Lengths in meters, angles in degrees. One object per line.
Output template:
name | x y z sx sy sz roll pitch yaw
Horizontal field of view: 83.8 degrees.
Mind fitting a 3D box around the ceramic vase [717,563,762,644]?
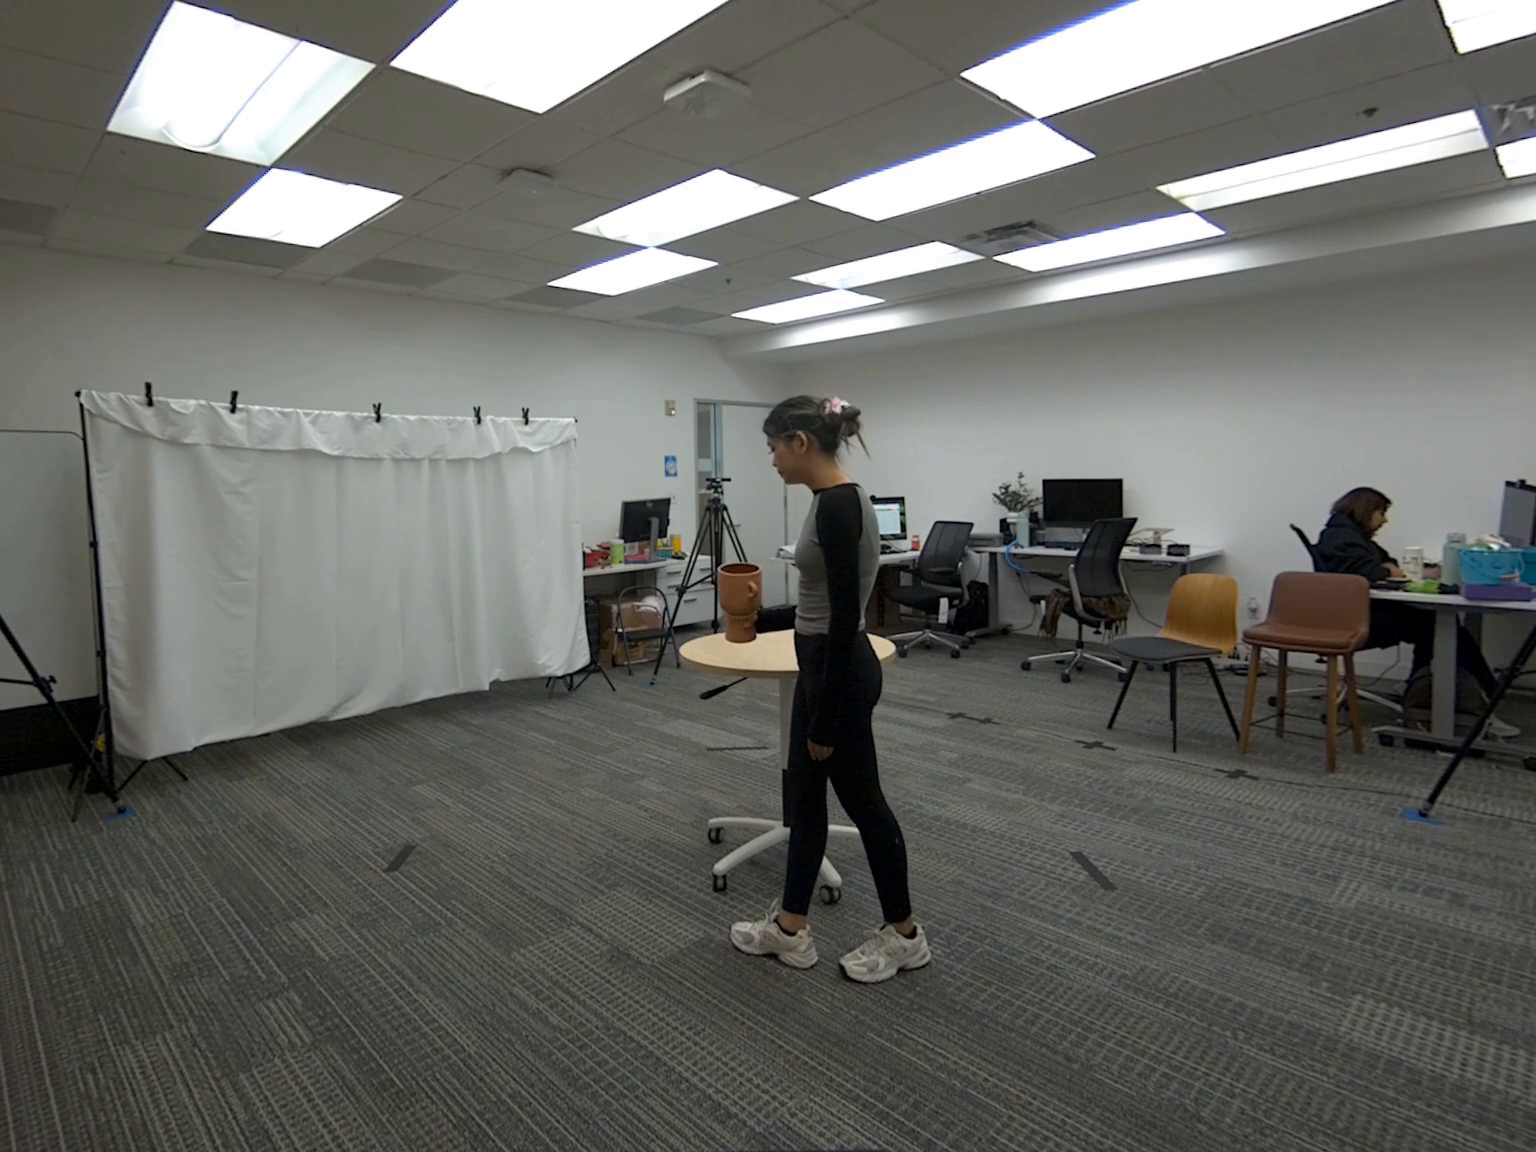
ceramic vase | -0.075 0.082 2.568 0.136 0.217 0.159 2 15 7
